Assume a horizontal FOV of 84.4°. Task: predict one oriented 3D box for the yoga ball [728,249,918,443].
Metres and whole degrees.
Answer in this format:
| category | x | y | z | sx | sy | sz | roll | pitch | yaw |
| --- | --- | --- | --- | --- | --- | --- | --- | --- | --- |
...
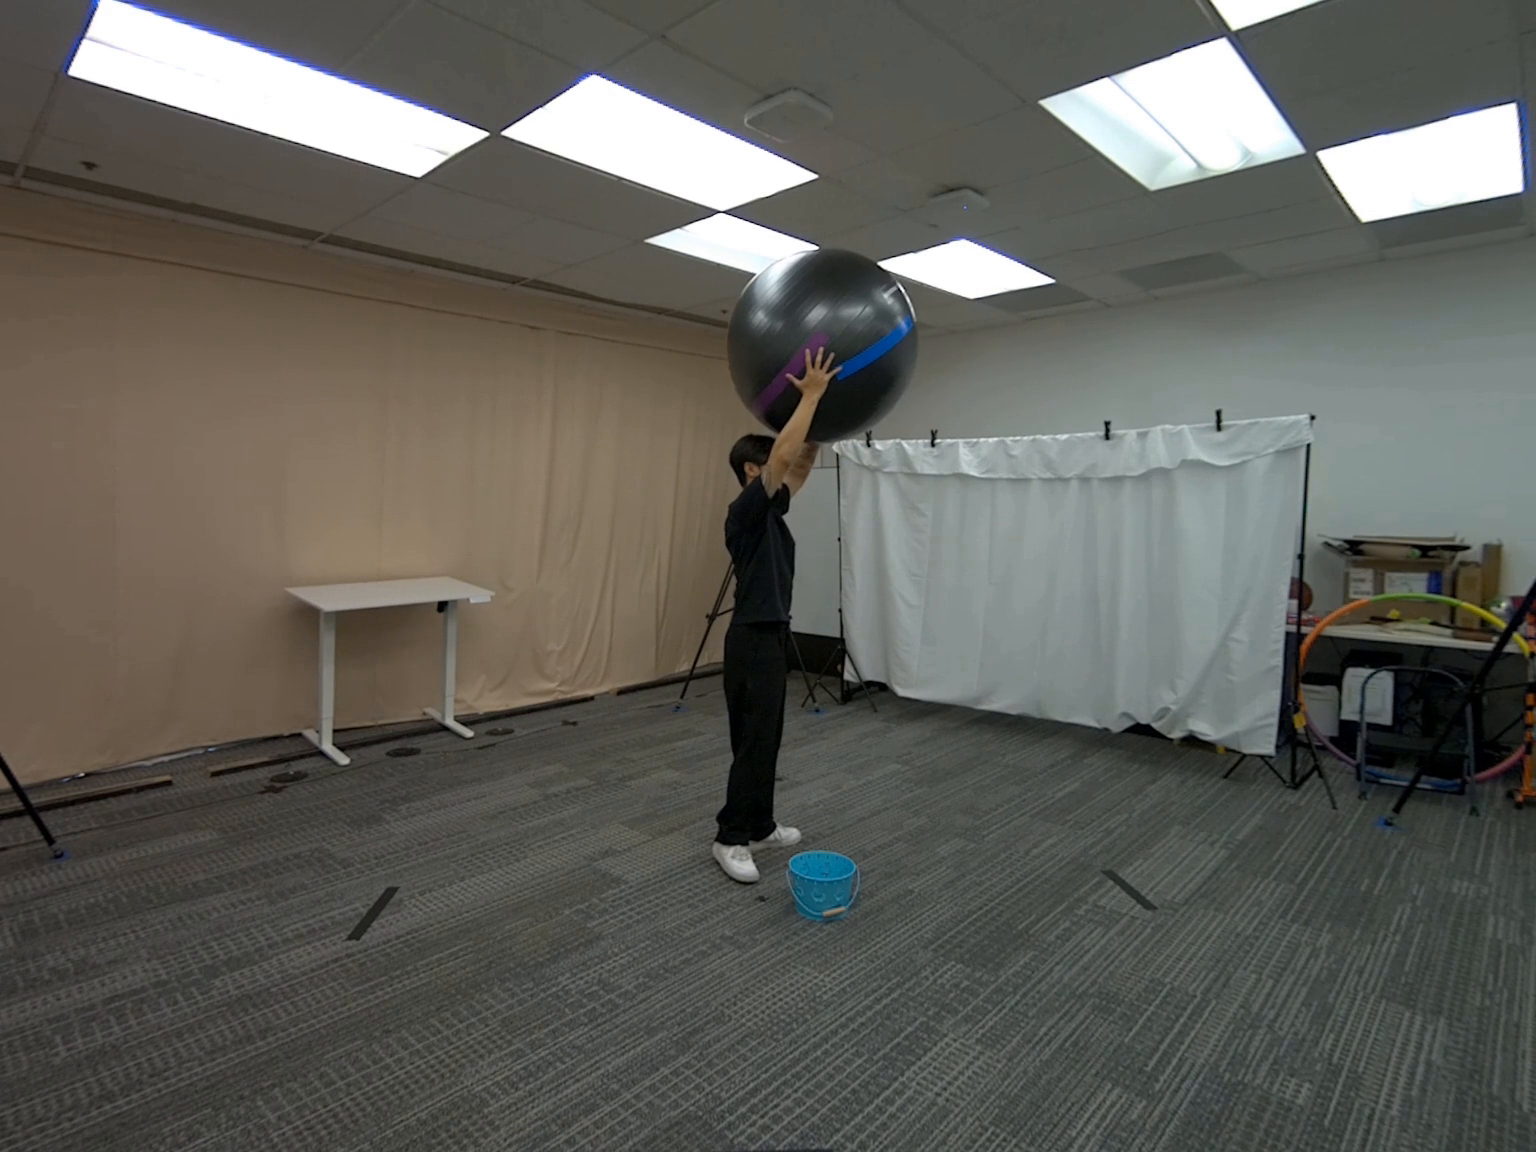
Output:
| category | x | y | z | sx | sy | sz | roll | pitch | yaw |
| --- | --- | --- | --- | --- | --- | --- | --- | --- | --- |
| yoga ball | 0.214 | -0.910 | 3.377 | 0.757 | 0.756 | 0.760 | 0 | 4 | -2 |
